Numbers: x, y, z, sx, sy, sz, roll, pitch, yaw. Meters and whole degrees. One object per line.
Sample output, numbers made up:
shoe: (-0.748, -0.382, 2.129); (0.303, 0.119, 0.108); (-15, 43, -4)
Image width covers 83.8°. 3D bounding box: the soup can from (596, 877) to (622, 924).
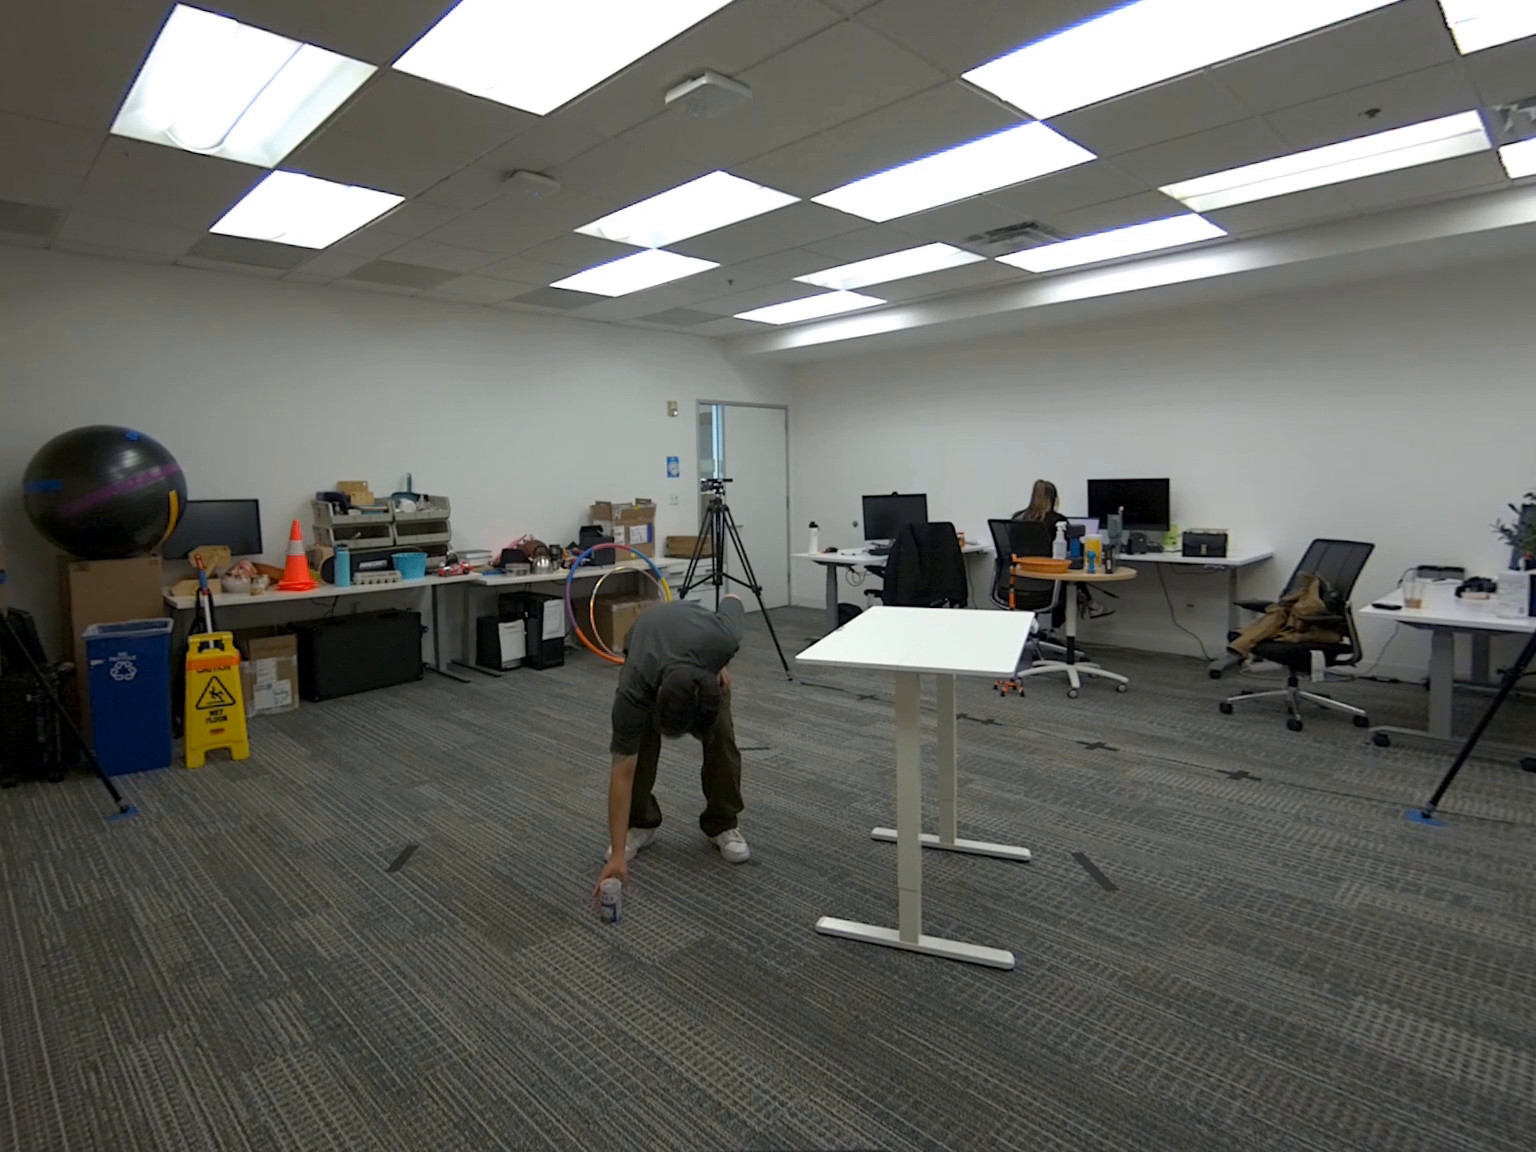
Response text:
soup can: (-0.508, 1.049, 2.731); (0.067, 0.120, 0.068); (-1, 8, -1)
